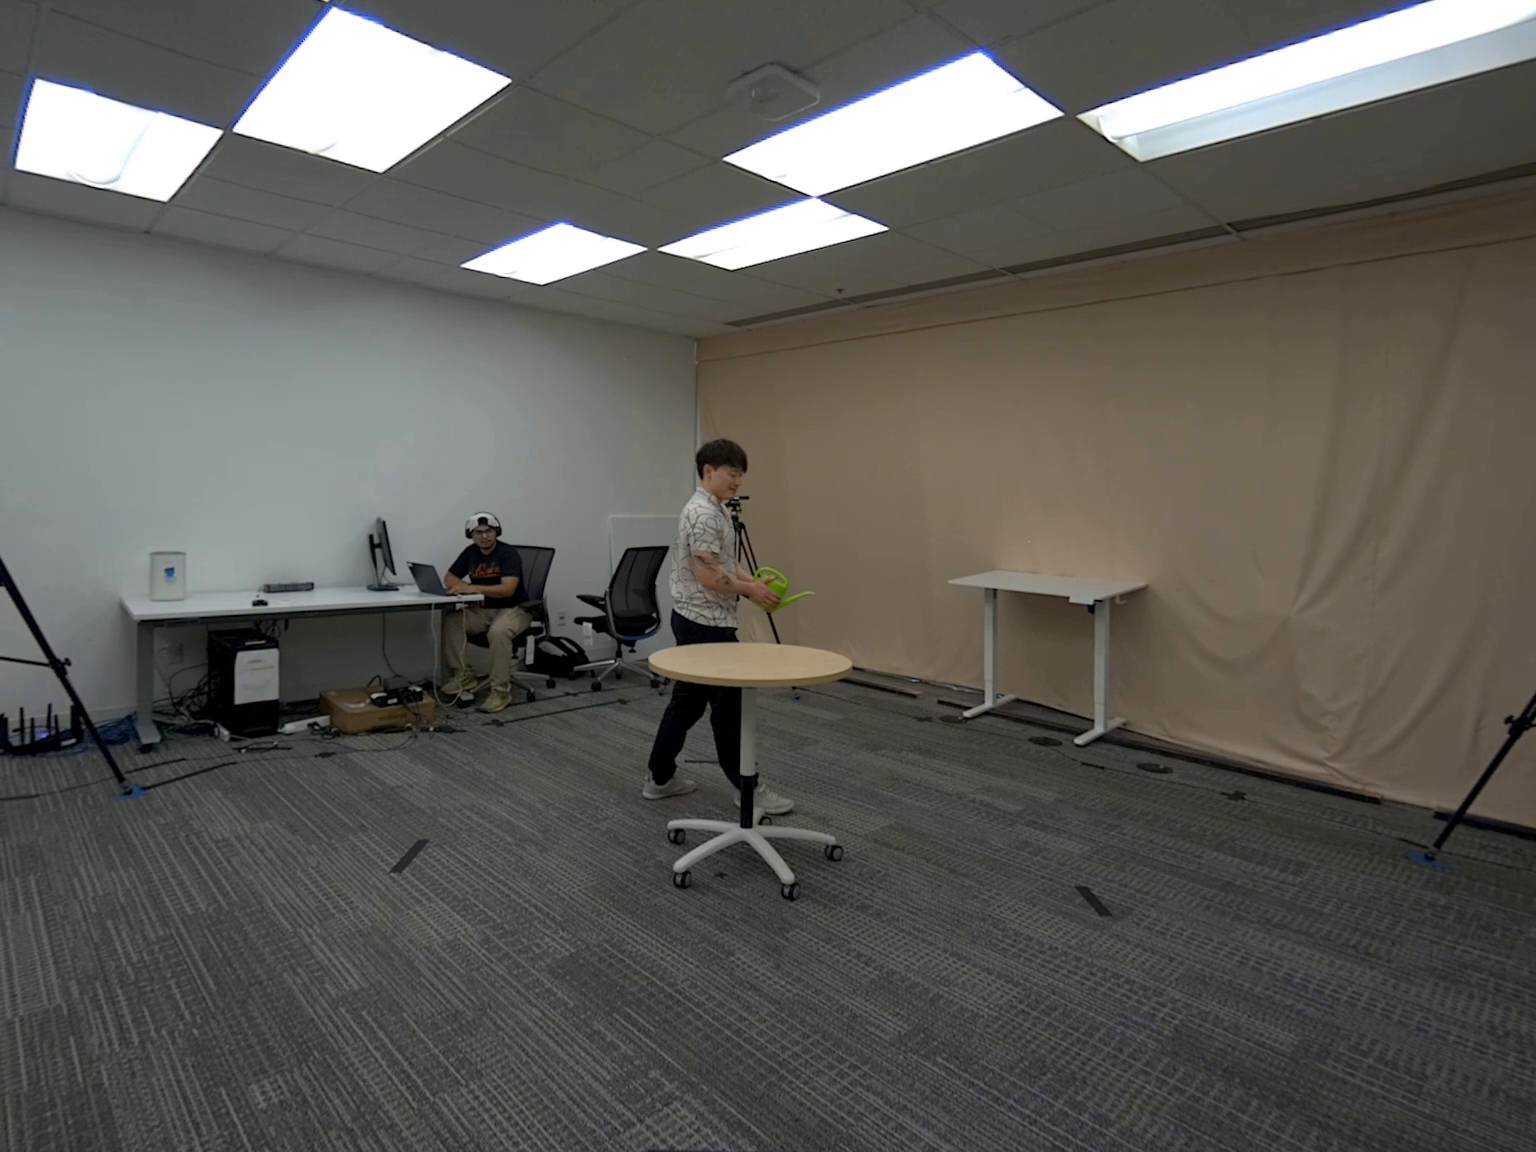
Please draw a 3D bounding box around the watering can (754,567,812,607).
[{"bbox_3d":[0.038,0.081,3.784,0.284,0.176,0.096,32,5,19],"label":"watering can"}]
